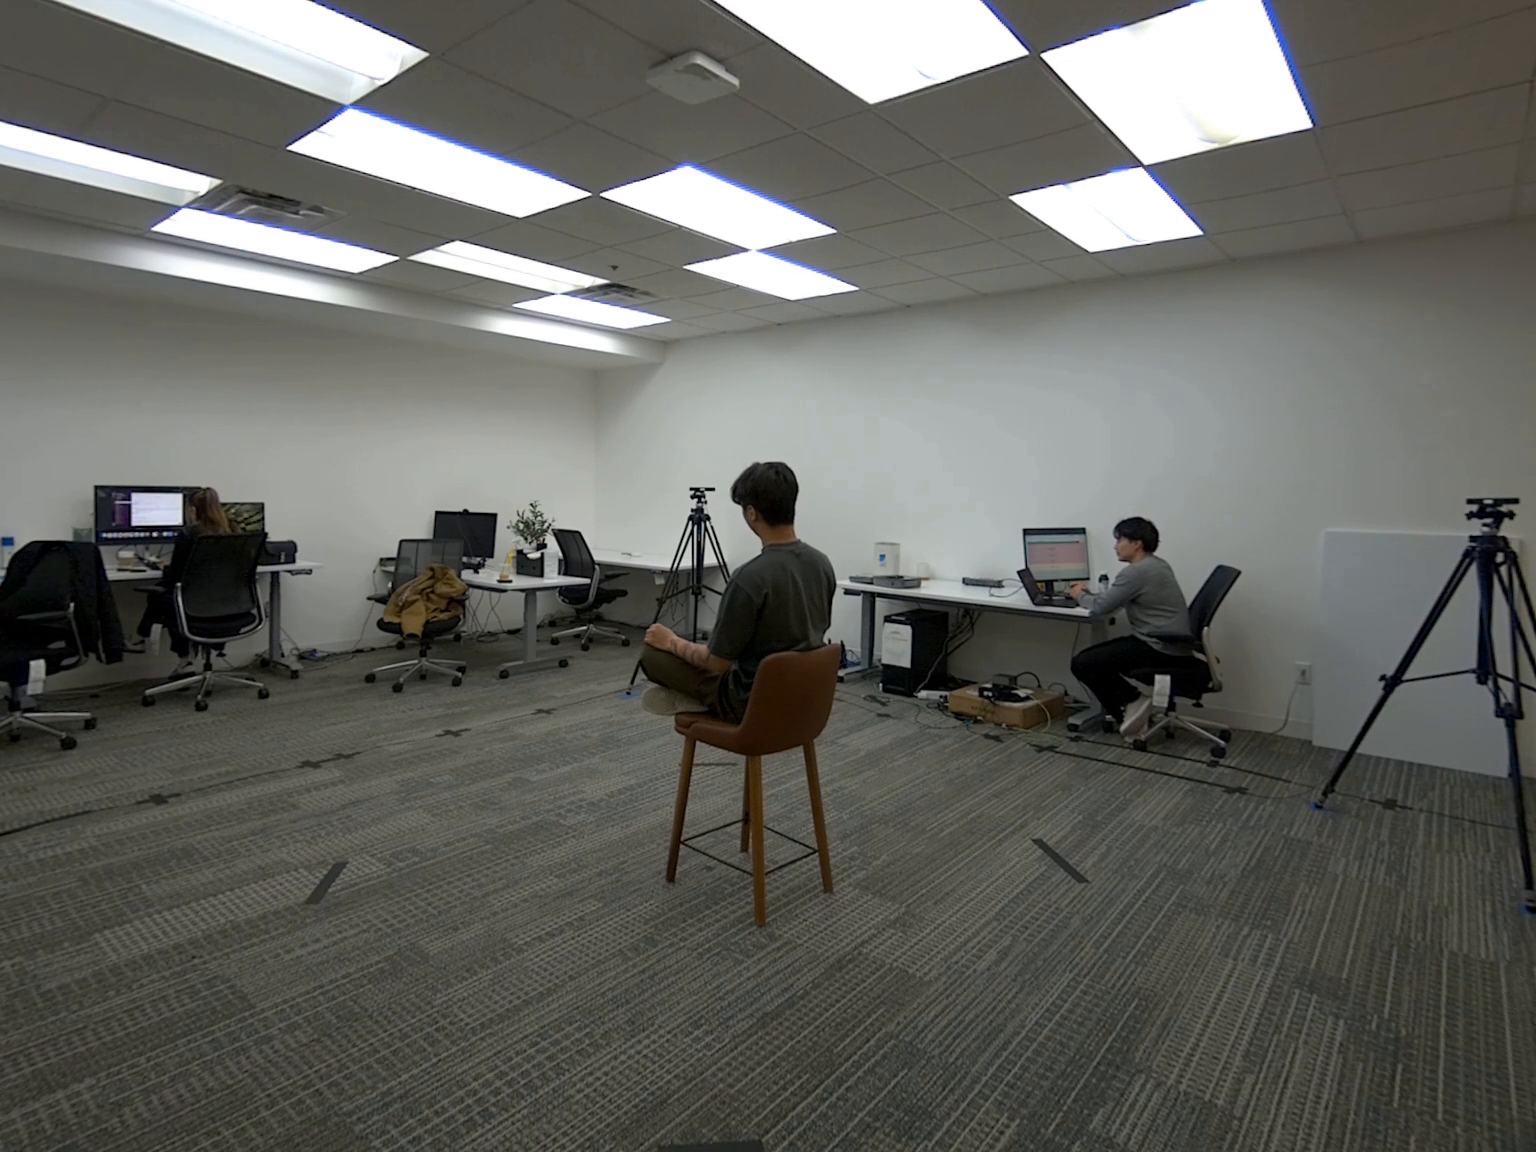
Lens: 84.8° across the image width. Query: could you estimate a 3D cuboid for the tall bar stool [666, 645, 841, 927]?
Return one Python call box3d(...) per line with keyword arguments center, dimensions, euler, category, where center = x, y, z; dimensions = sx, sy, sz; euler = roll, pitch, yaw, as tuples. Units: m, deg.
box3d(center=(-0.052, 0.649, 2.953), dimensions=(0.484, 0.886, 0.442), euler=(8, 6, 44), category="tall bar stool")
